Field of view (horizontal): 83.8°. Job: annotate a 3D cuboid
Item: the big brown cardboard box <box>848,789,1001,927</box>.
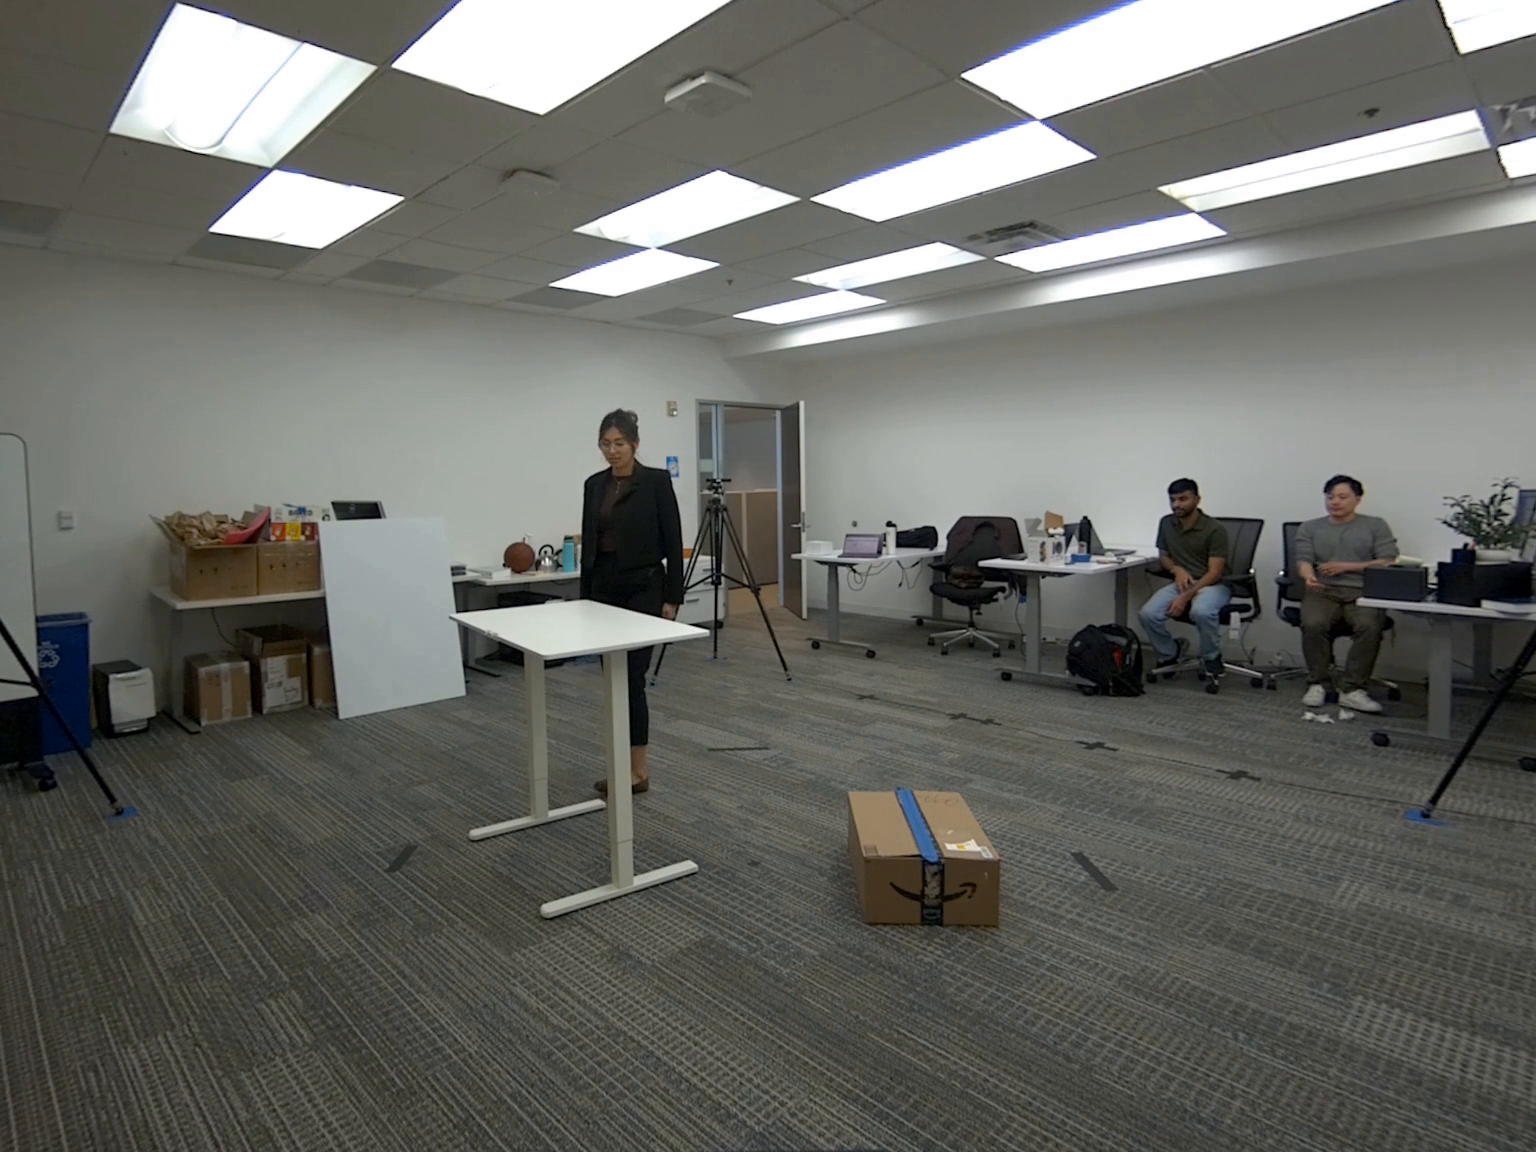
[{"bbox_3d":[0.510,0.944,2.921,0.418,0.232,0.590,-1,5,0],"label":"big brown cardboard box"}]
